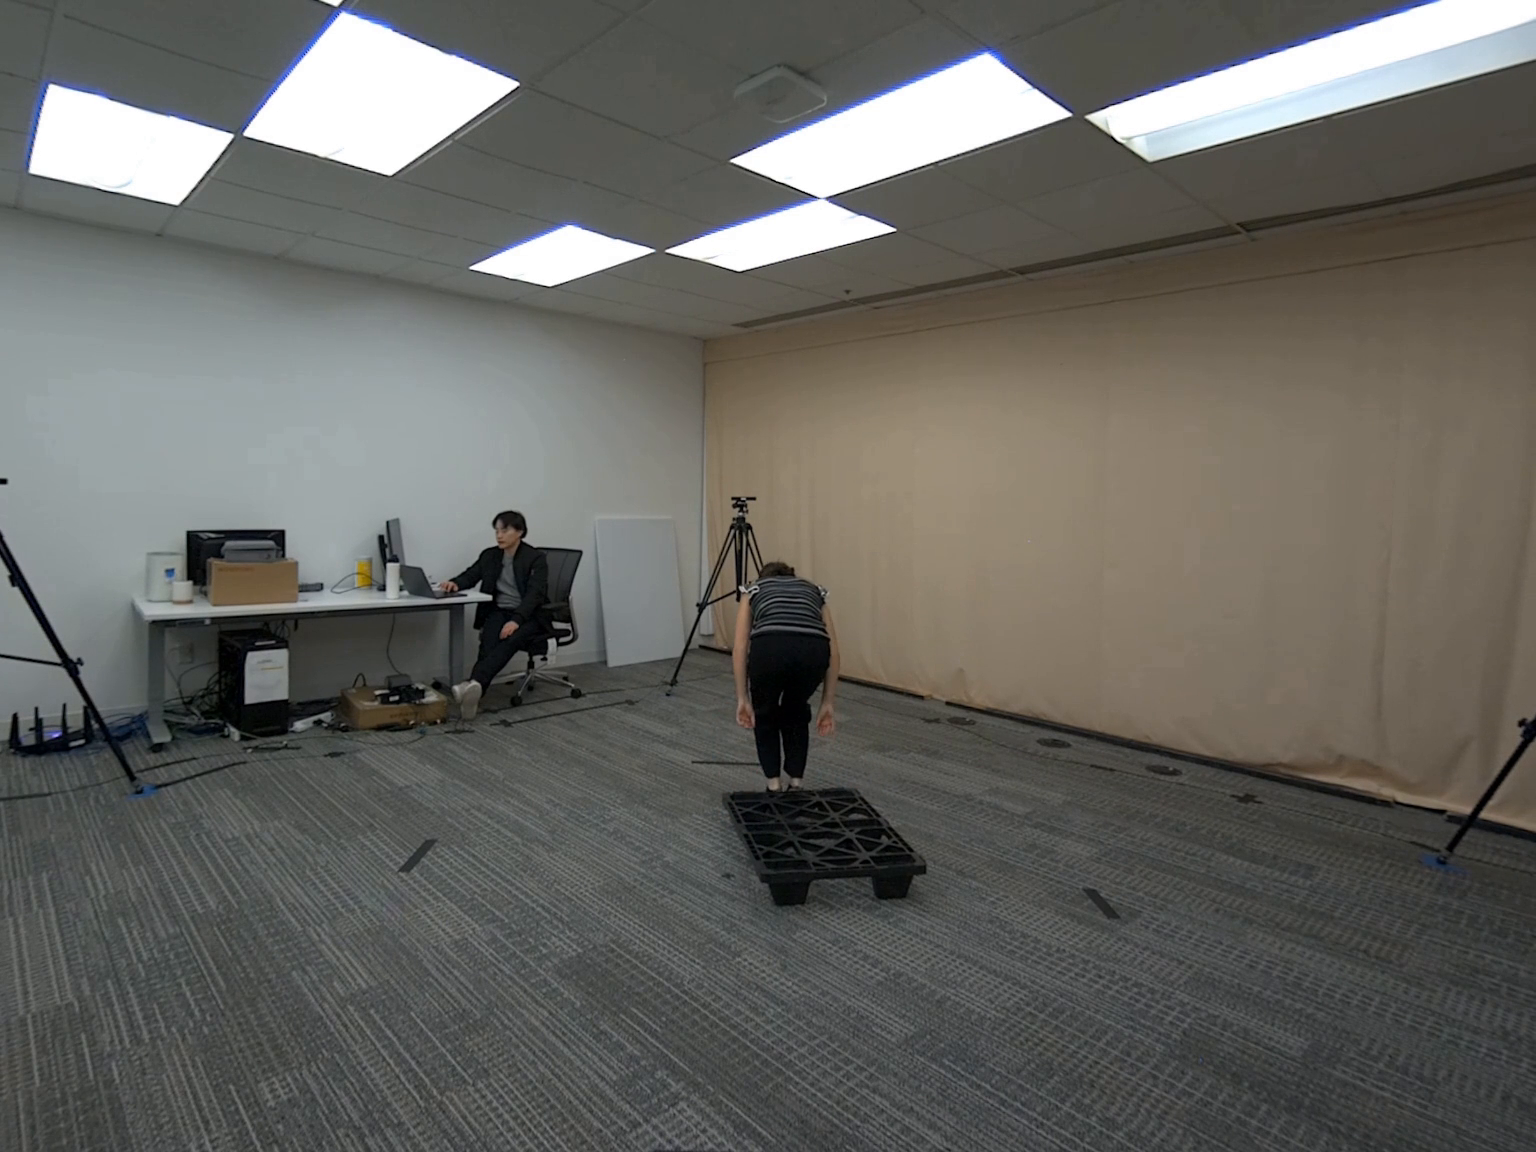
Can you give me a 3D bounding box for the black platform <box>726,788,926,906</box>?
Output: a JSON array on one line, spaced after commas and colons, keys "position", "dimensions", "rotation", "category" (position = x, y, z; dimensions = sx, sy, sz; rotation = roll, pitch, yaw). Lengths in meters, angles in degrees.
[{"position": [0.172, 1.031, 3.275], "dimensions": [0.599, 0.143, 0.815], "rotation": [1, 5, -12], "category": "black platform"}]
